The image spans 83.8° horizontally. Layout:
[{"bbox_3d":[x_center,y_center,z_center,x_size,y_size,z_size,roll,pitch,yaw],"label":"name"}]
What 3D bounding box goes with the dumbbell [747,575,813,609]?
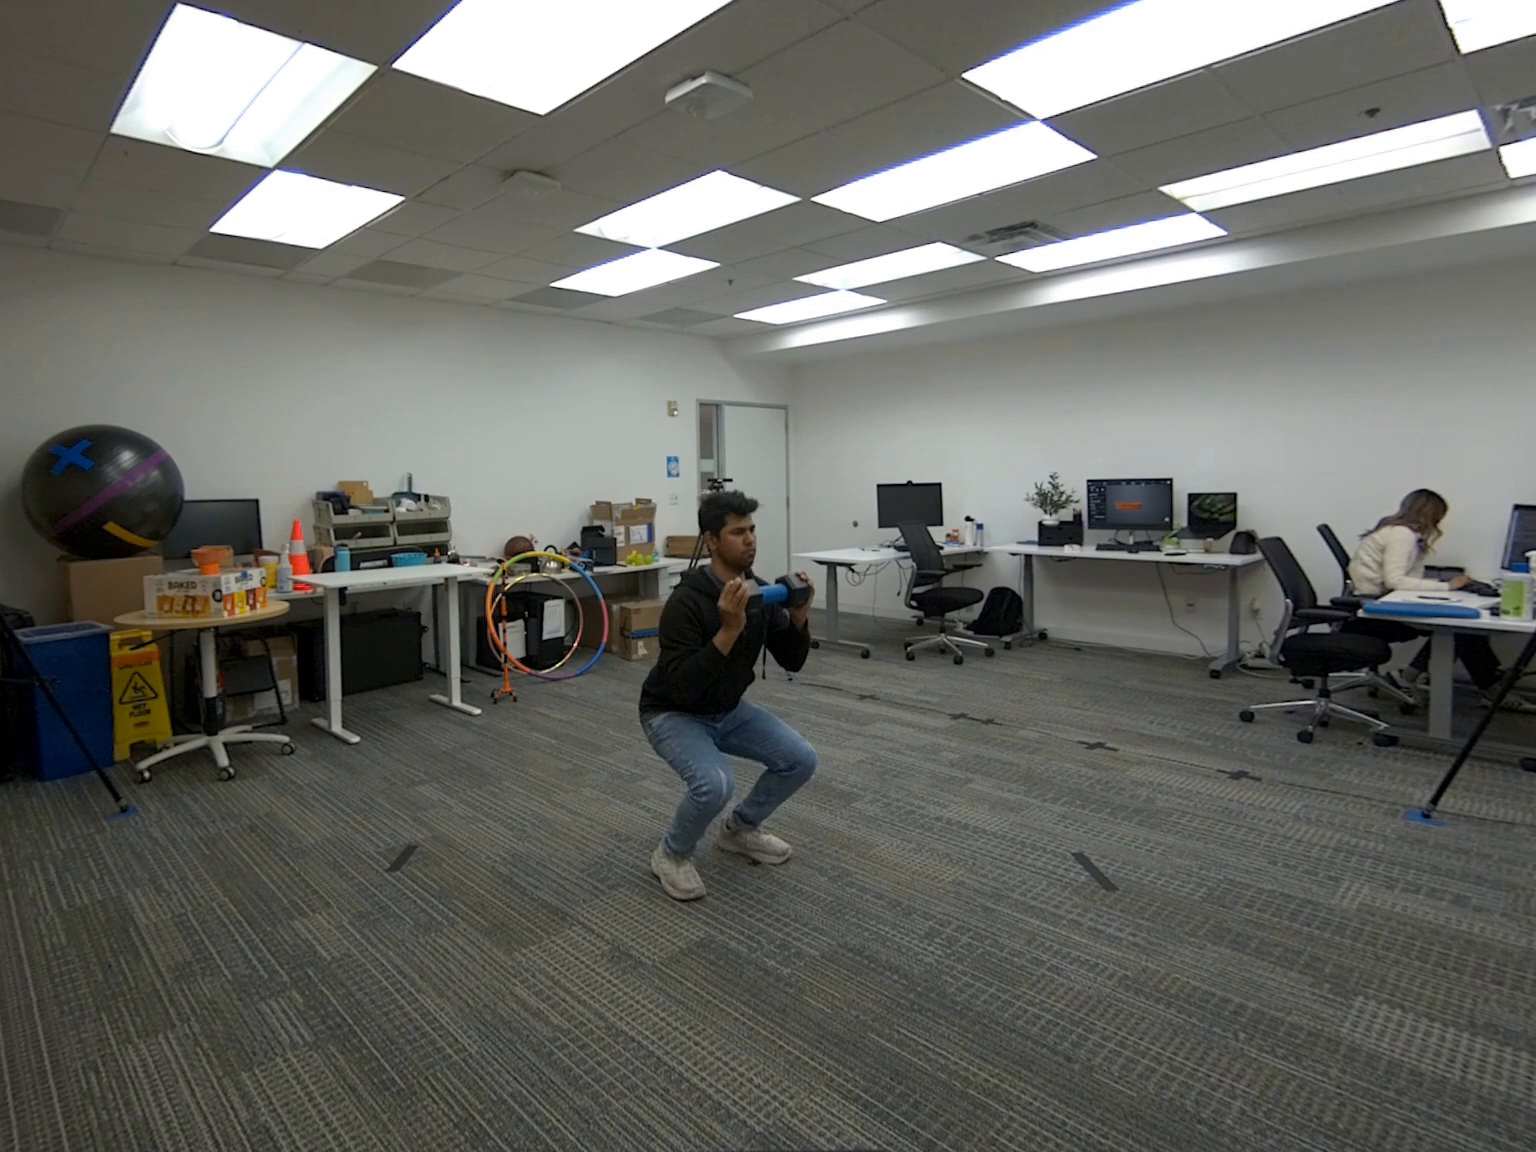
[{"bbox_3d":[-0.006,0.060,2.822,0.286,0.122,0.112,-6,16,-42],"label":"dumbbell"}]
